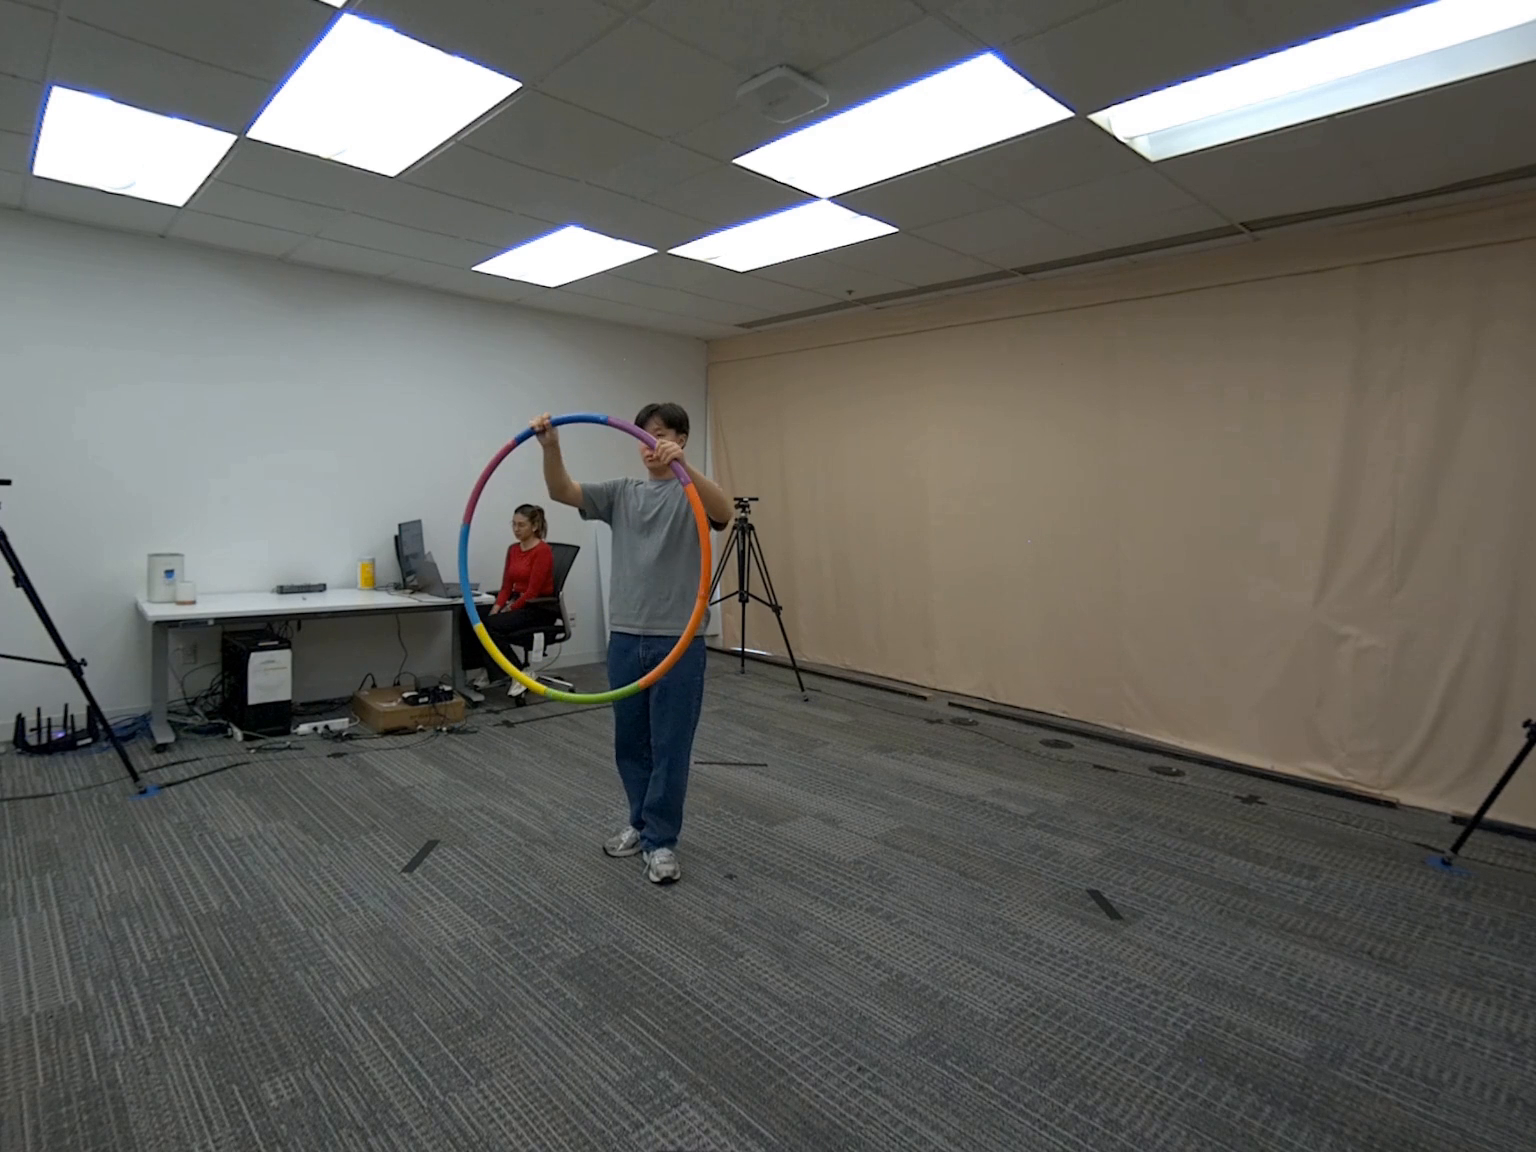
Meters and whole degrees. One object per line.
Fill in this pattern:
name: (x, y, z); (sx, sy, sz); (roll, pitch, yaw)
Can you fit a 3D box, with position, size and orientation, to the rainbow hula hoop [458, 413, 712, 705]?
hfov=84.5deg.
rainbow hula hoop: (-0.651, -0.066, 2.861); (0.995, 0.977, 0.035); (3, 1, 21)
